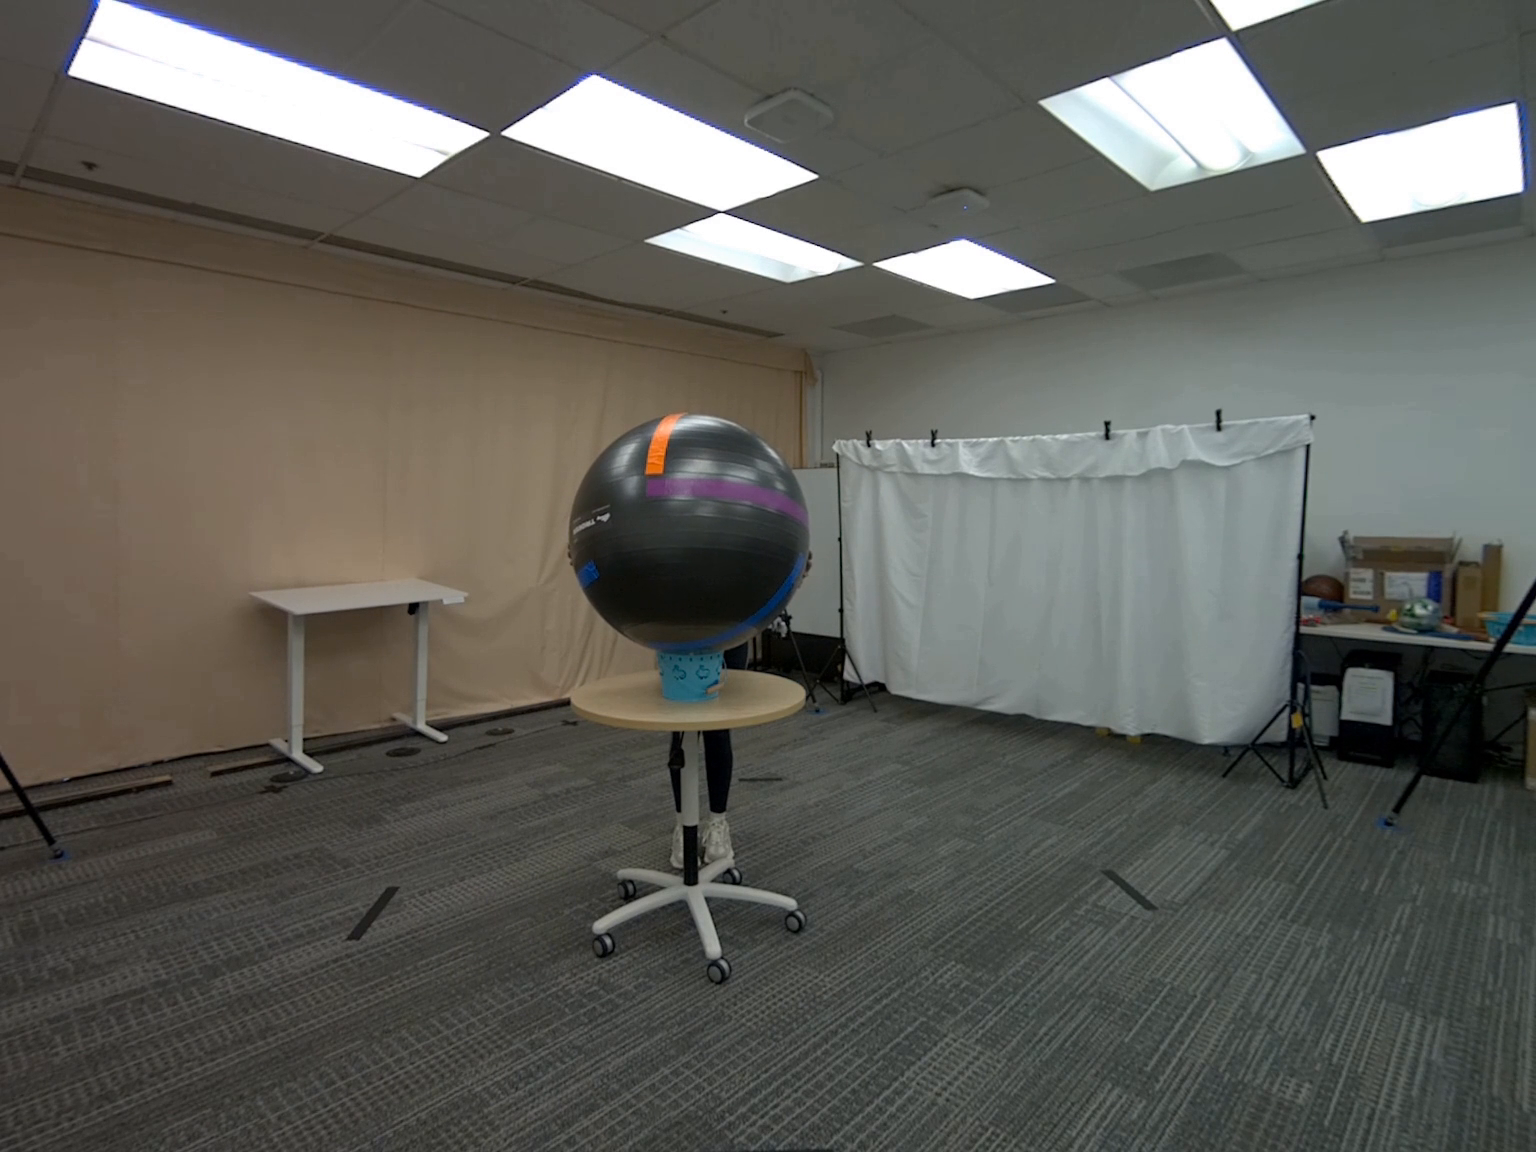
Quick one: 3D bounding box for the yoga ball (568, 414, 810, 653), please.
[{"bbox_3d":[-0.249,-0.123,2.645,0.757,0.756,0.761,0,4,-2],"label":"yoga ball"}]
